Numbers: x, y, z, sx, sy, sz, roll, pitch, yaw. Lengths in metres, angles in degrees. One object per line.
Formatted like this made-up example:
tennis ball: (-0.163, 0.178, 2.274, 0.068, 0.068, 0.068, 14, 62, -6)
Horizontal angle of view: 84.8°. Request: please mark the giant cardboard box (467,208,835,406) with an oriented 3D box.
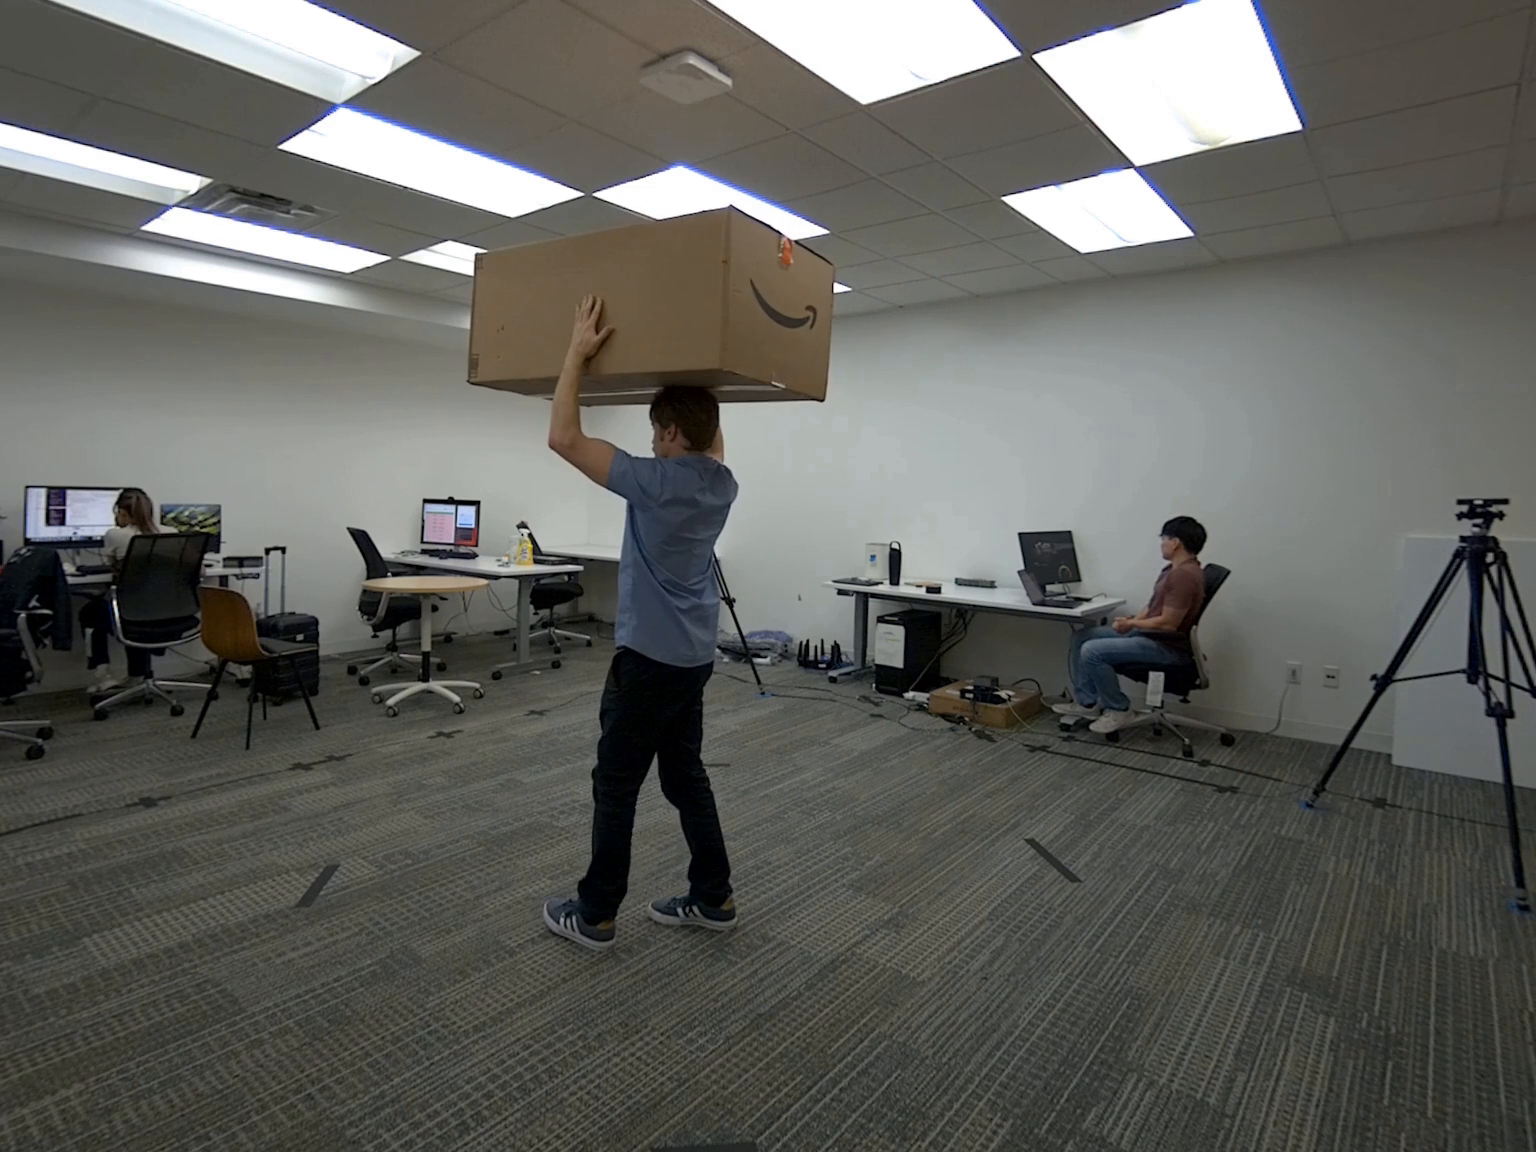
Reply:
giant cardboard box: (-0.393, -0.798, 2.690, 1.059, 0.425, 0.560, 6, 4, 34)
